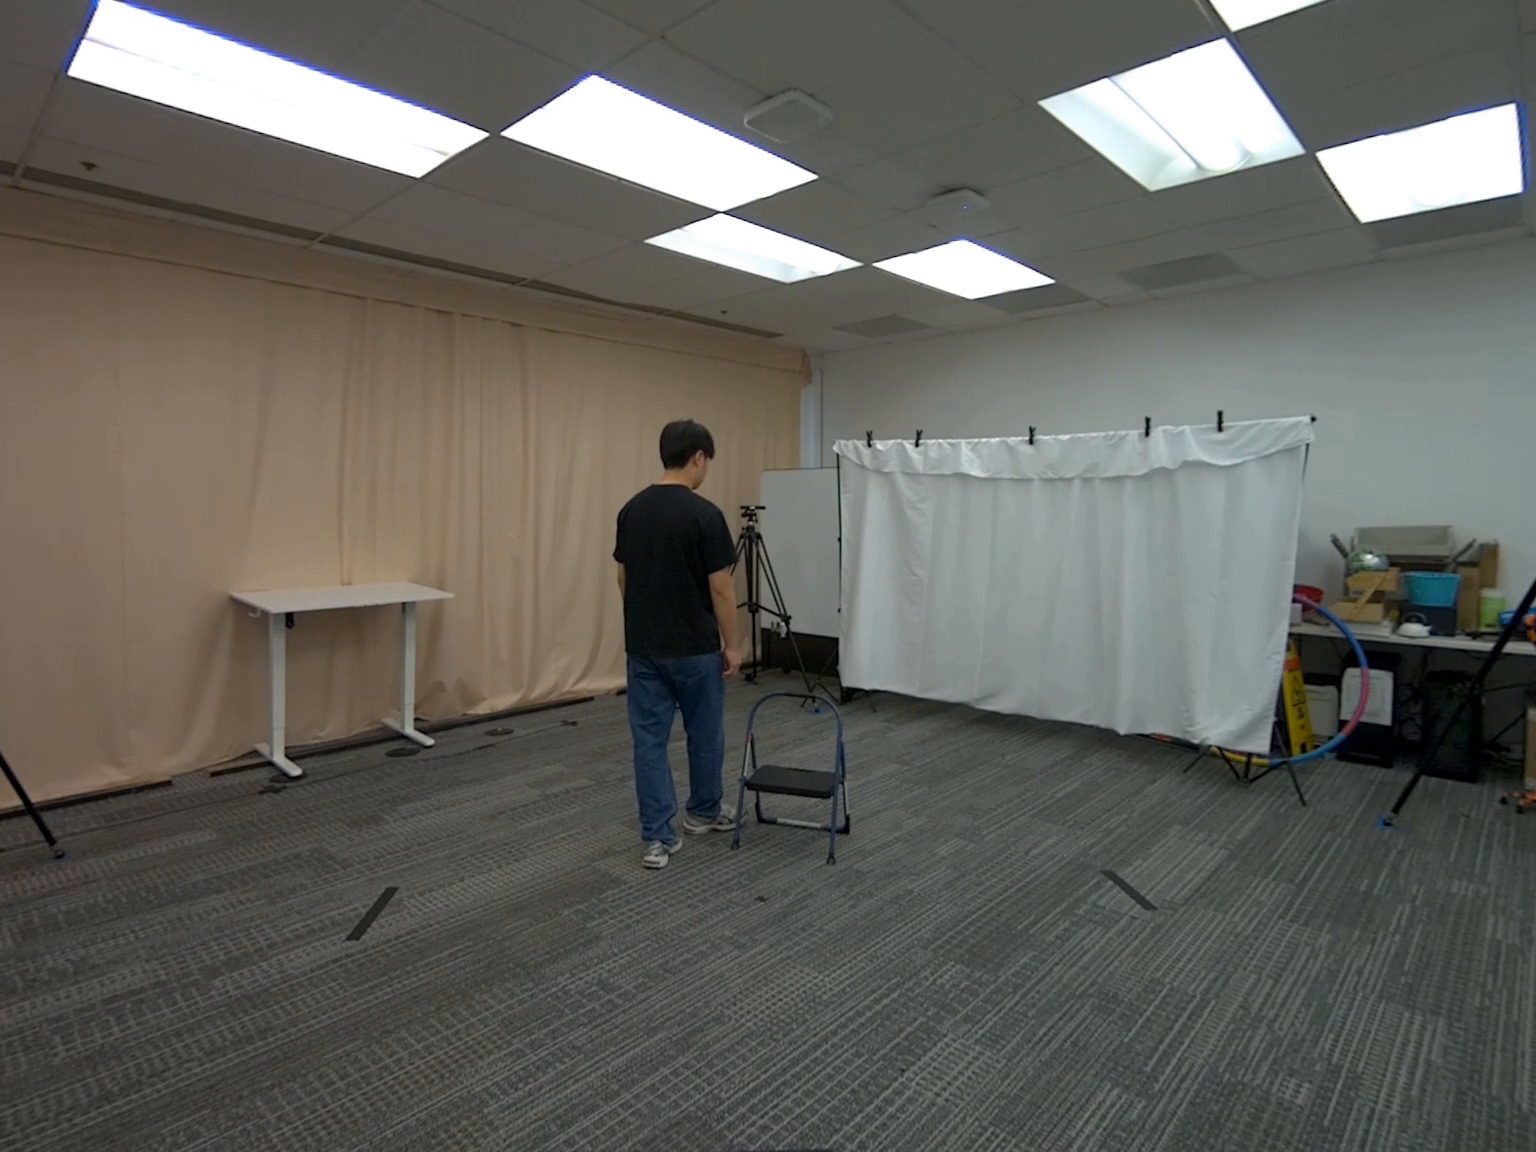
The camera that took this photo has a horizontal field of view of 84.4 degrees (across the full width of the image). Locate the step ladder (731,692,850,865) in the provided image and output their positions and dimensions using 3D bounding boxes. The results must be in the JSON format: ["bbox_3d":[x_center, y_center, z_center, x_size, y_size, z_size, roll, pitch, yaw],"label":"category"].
[{"bbox_3d":[0.110,0.801,3.485,0.439,0.605,0.343,1,4,19],"label":"step ladder"}]
